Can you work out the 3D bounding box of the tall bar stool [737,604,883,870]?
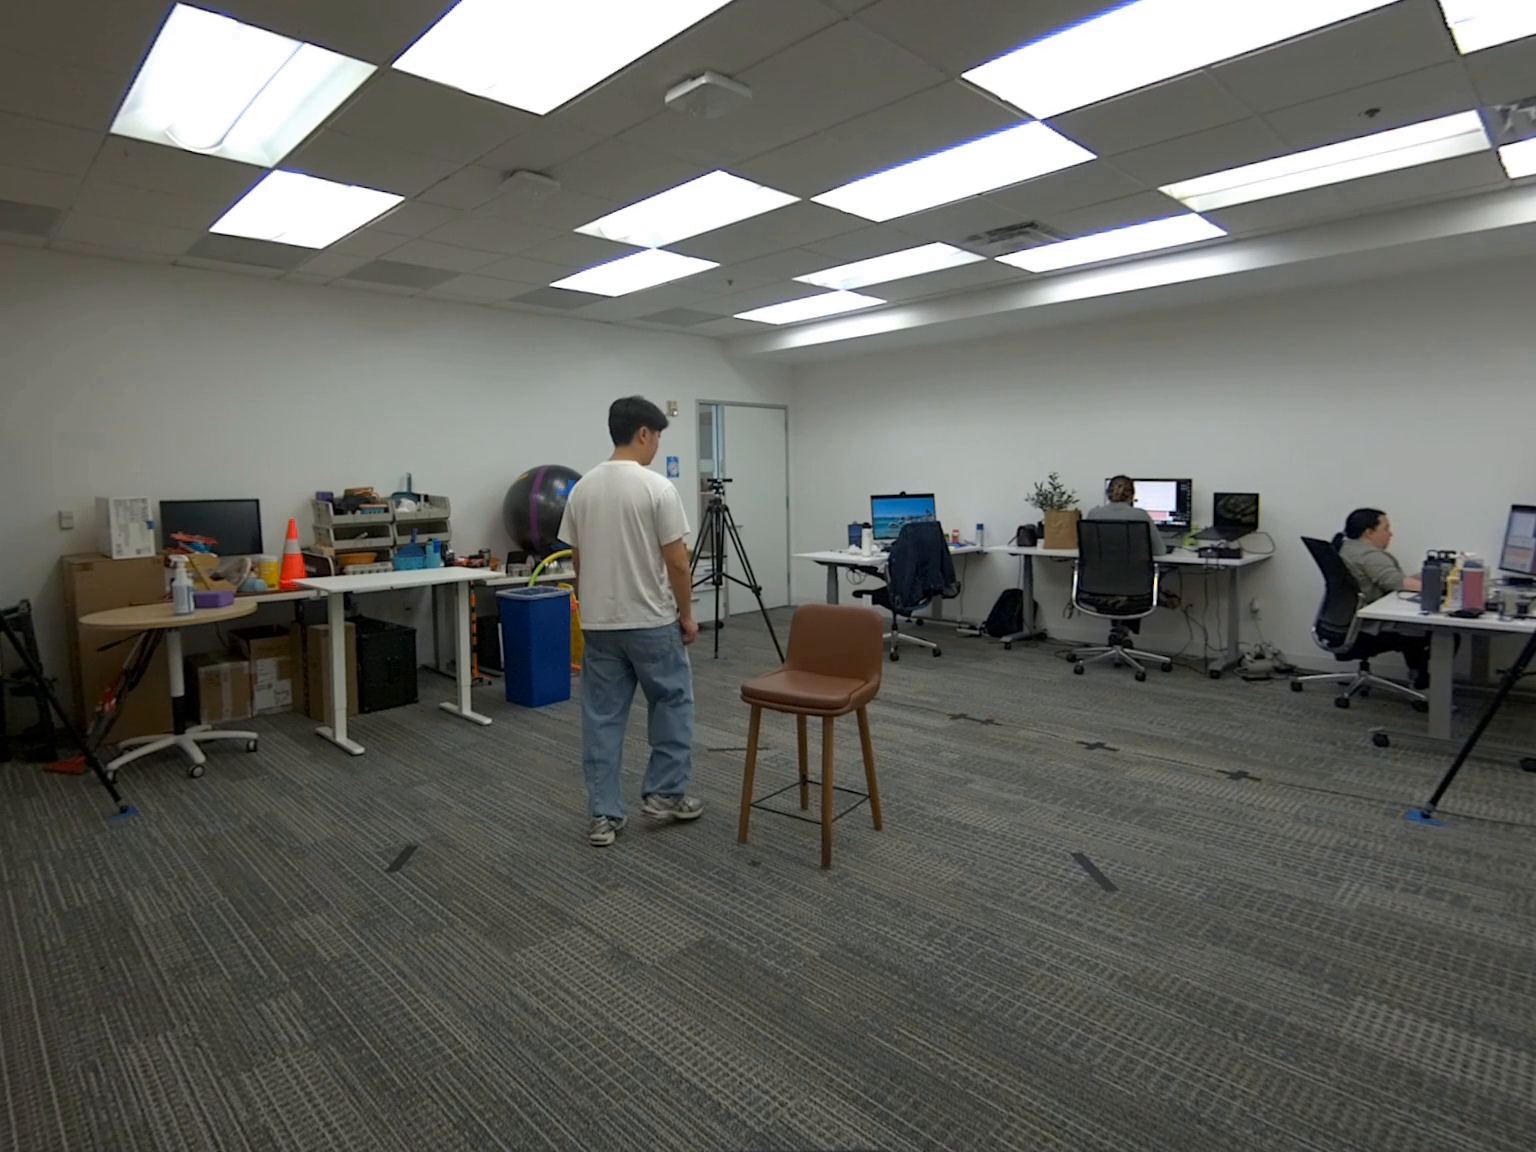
[{"bbox_3d":[0.178,0.583,3.314,0.470,0.888,0.455,2,3,37],"label":"tall bar stool"}]
